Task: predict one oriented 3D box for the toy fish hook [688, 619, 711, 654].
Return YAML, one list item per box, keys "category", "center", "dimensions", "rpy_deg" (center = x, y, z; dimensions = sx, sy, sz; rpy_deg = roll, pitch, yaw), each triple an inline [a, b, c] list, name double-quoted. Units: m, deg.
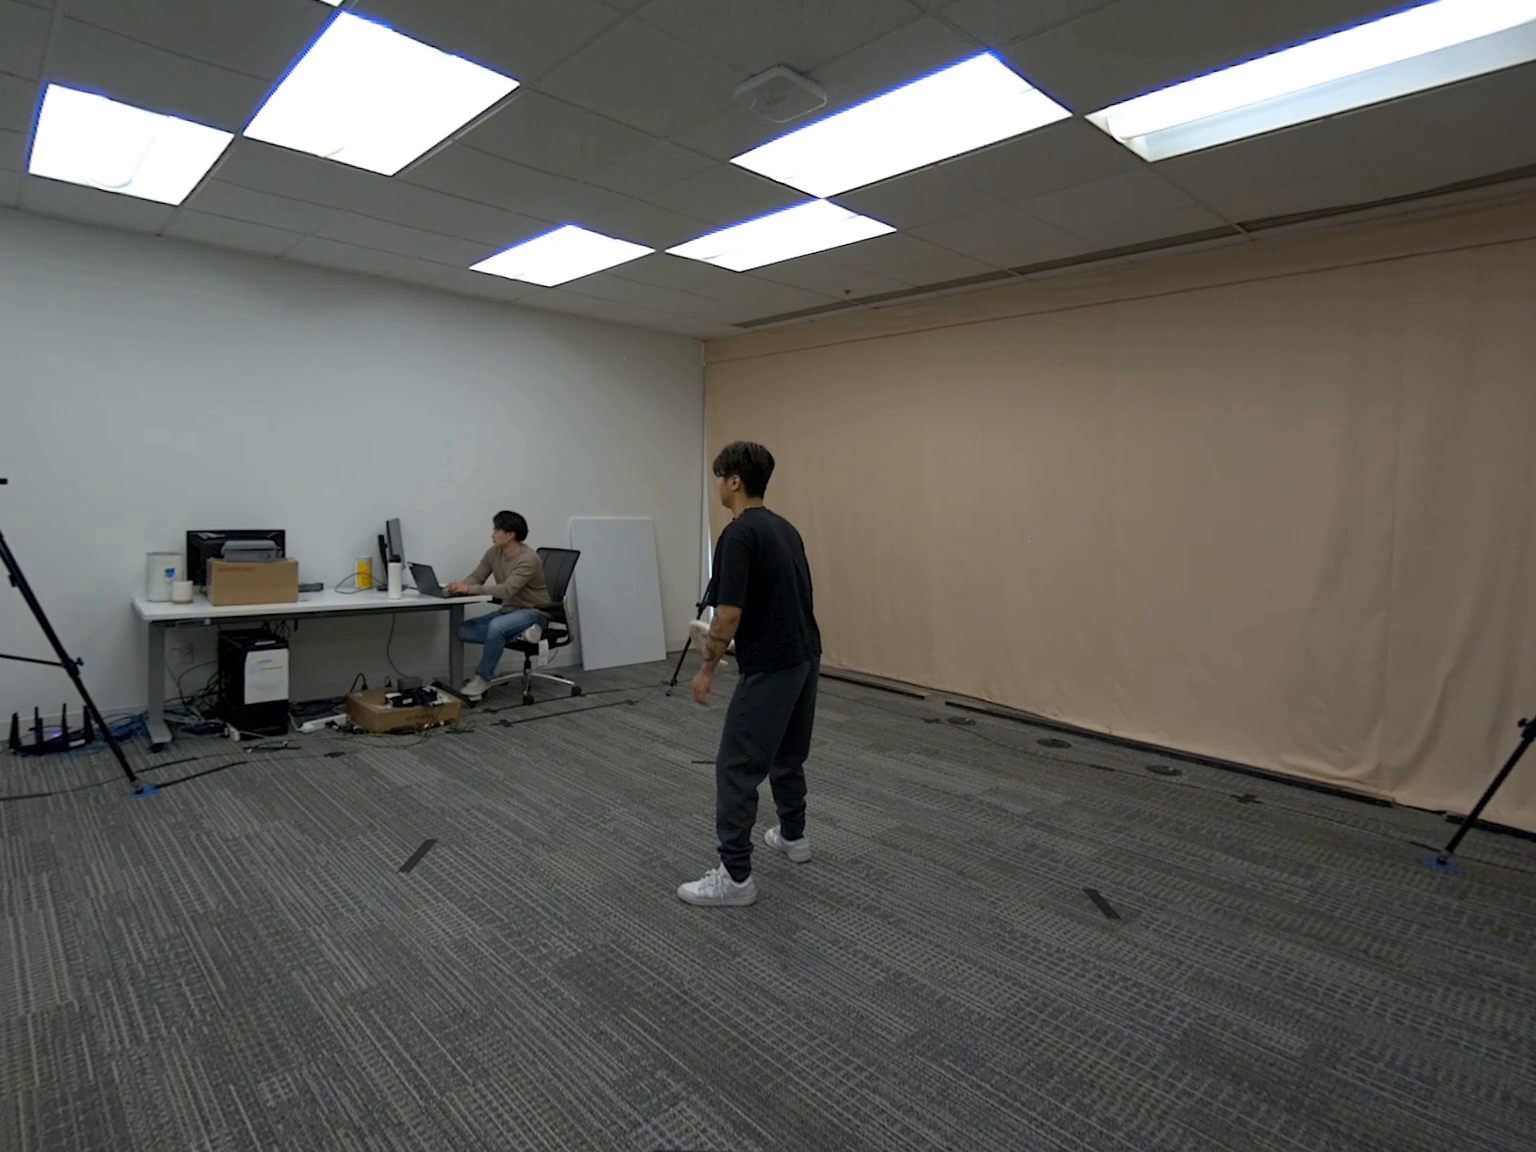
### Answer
- category: "toy fish hook"
  center: [-0.149, 0.312, 3.500]
  dimensions: [0.048, 0.219, 0.521]
  rpy_deg: [-39, 35, -27]
